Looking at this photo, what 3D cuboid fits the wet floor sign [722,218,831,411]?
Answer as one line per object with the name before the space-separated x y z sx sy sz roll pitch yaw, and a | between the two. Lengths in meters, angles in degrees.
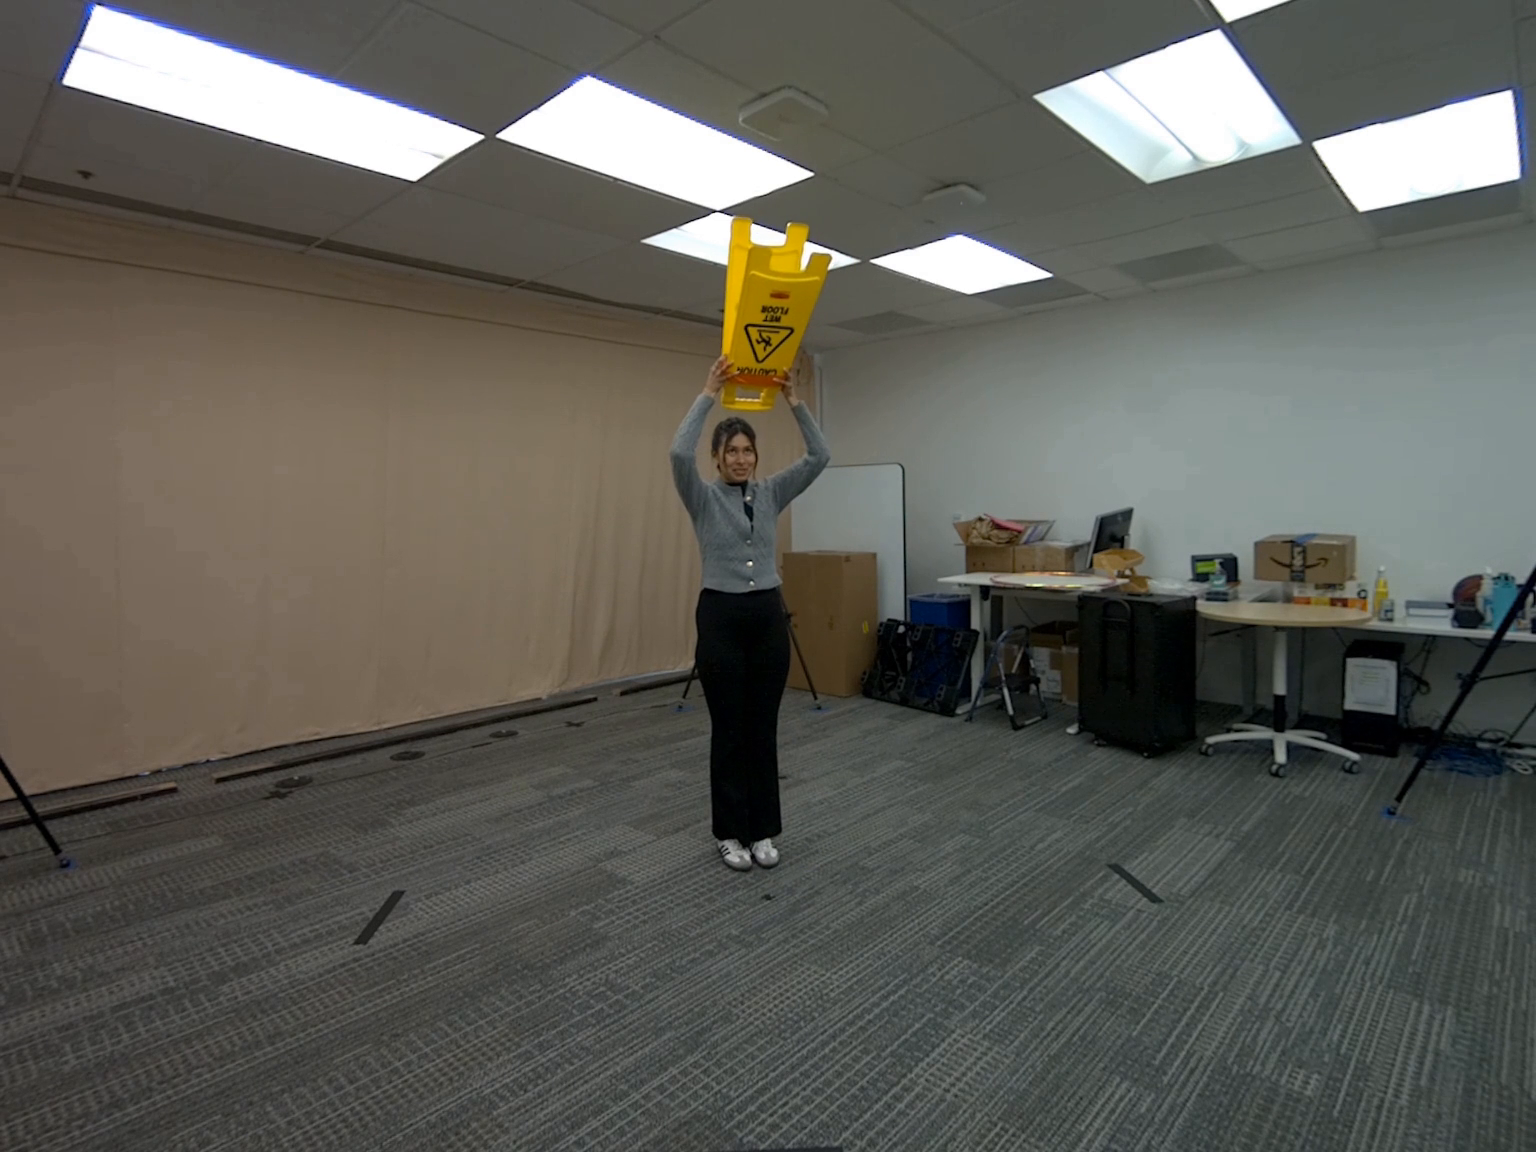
wet floor sign | -0.014 -0.879 2.961 0.278 0.639 0.297 1 40 -16
